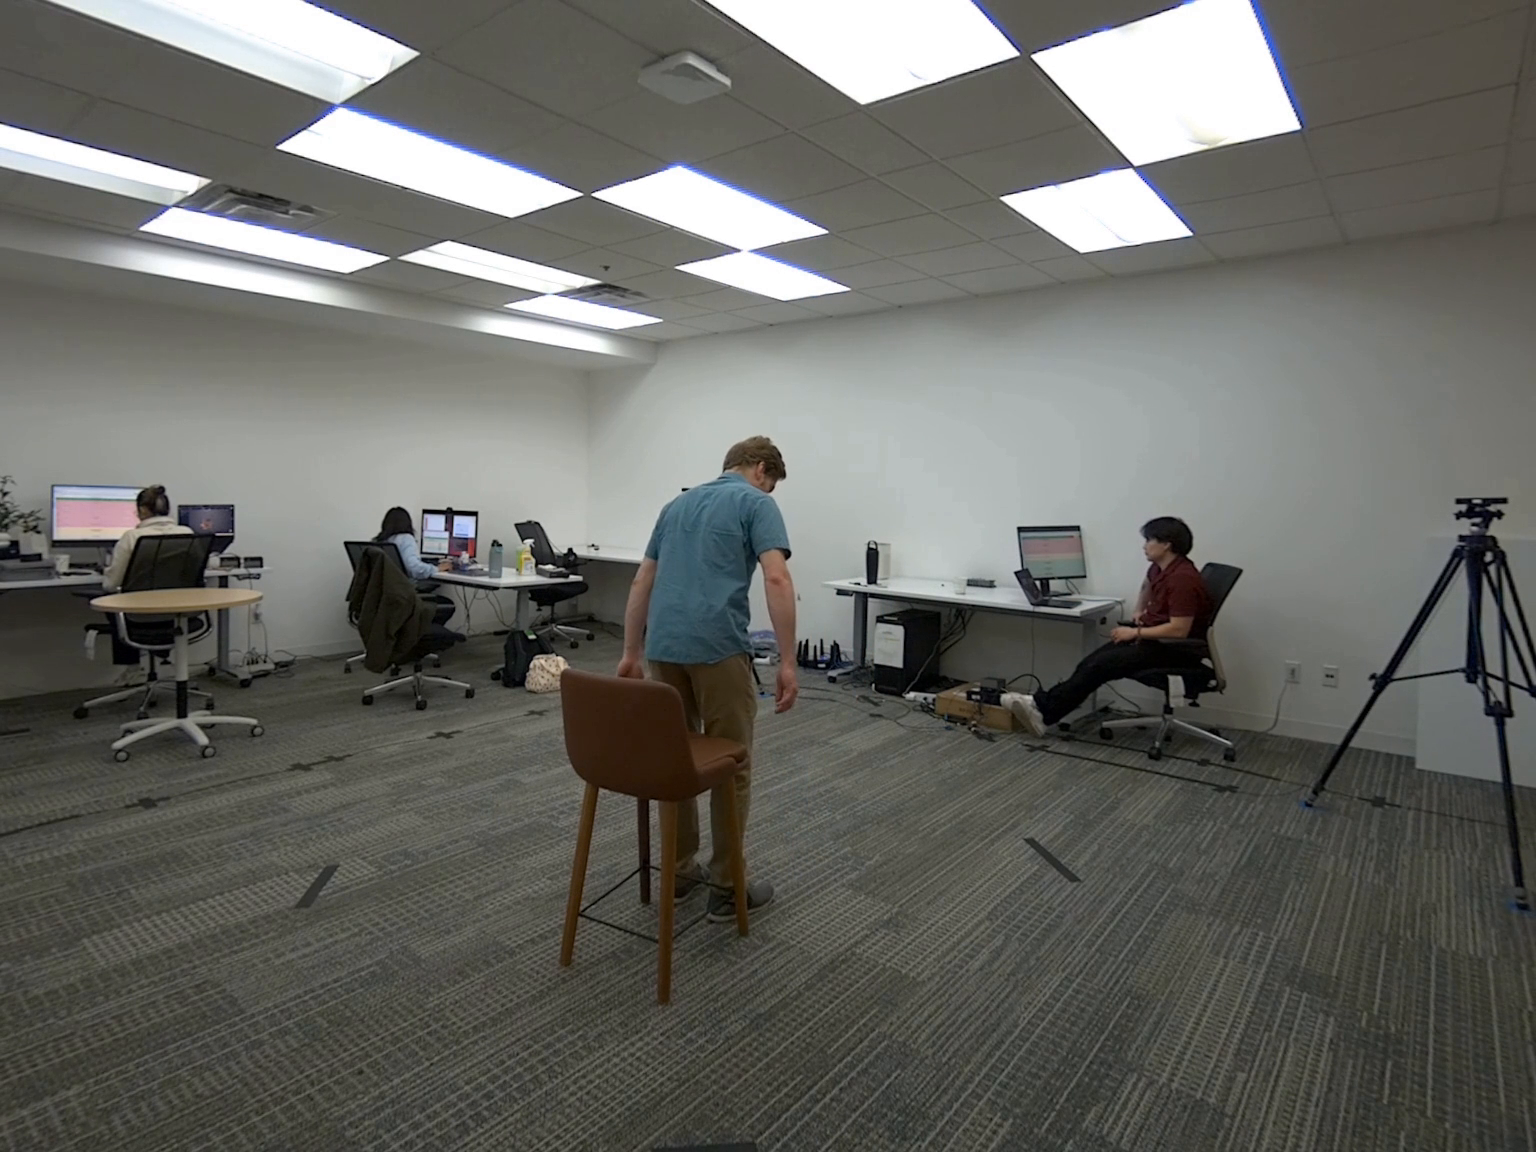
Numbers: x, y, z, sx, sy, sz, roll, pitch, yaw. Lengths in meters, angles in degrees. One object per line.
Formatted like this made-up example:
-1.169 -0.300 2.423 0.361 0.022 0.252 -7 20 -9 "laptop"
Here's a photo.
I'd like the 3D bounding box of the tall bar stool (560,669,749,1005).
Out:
-0.345 0.685 2.545 0.469 0.886 0.456 2 5 29 "tall bar stool"
